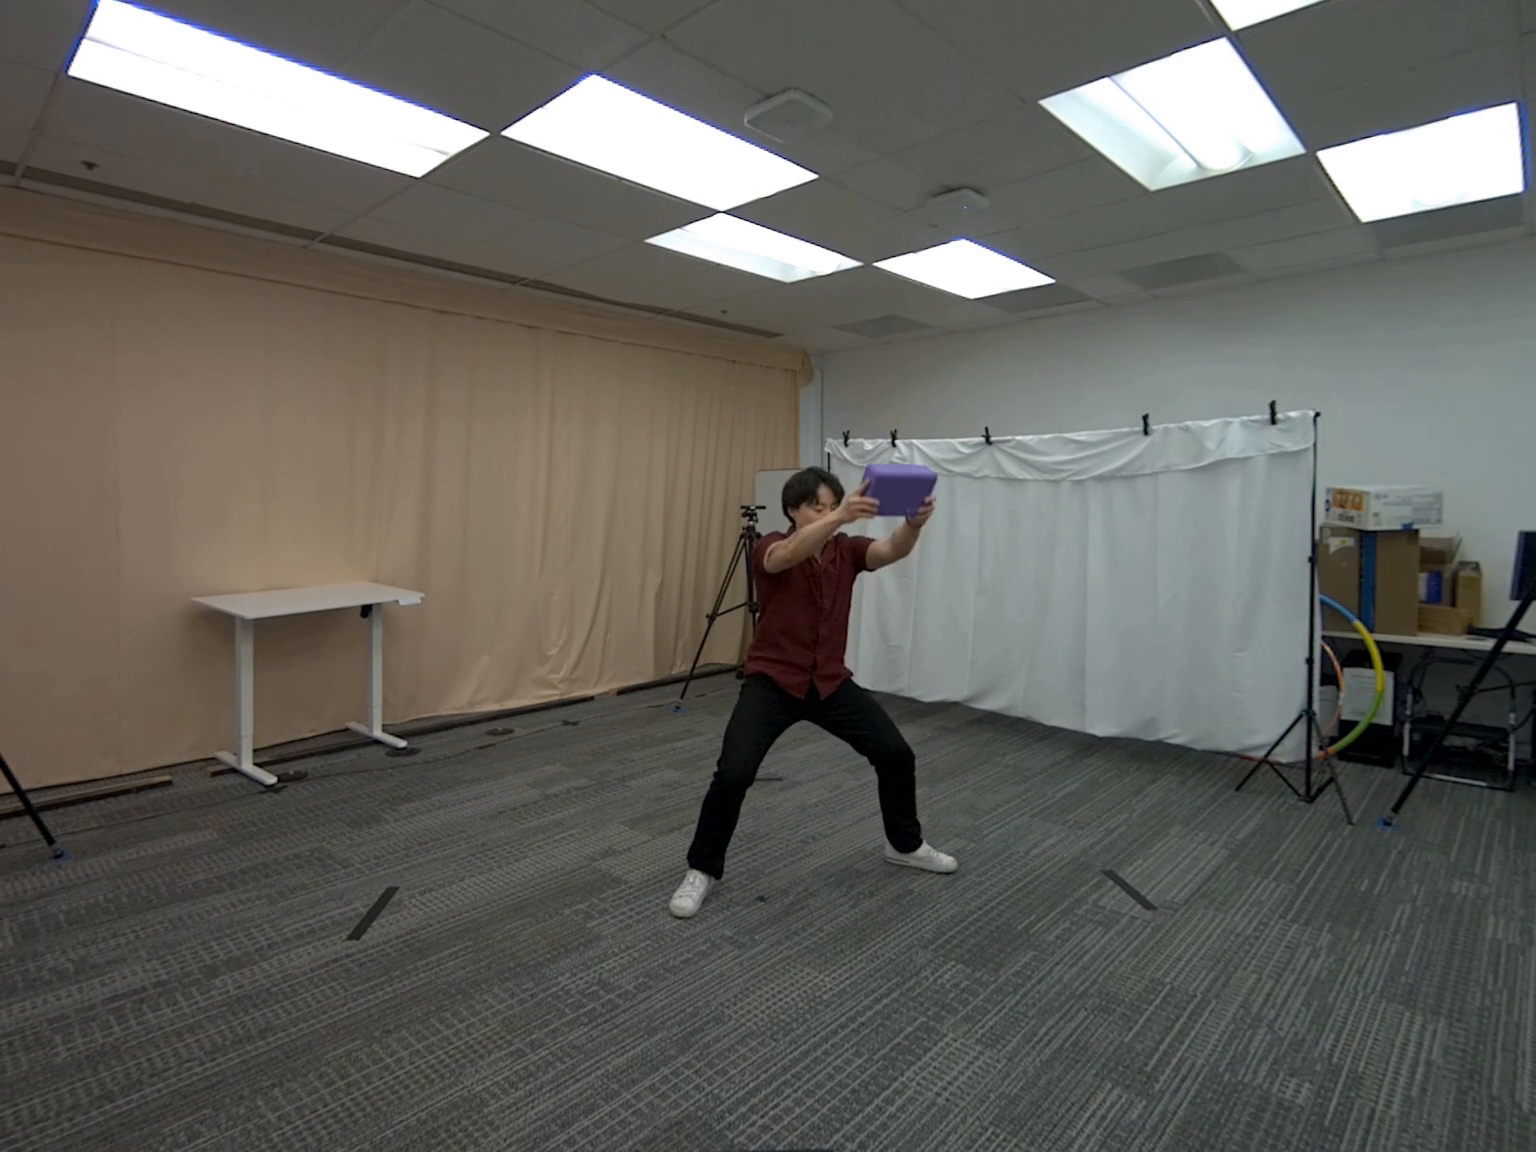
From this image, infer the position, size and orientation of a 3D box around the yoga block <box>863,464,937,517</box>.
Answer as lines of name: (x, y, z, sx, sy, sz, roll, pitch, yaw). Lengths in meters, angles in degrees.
yoga block: (0.392, -0.259, 2.575, 0.225, 0.147, 0.079, -1, 30, -20)
